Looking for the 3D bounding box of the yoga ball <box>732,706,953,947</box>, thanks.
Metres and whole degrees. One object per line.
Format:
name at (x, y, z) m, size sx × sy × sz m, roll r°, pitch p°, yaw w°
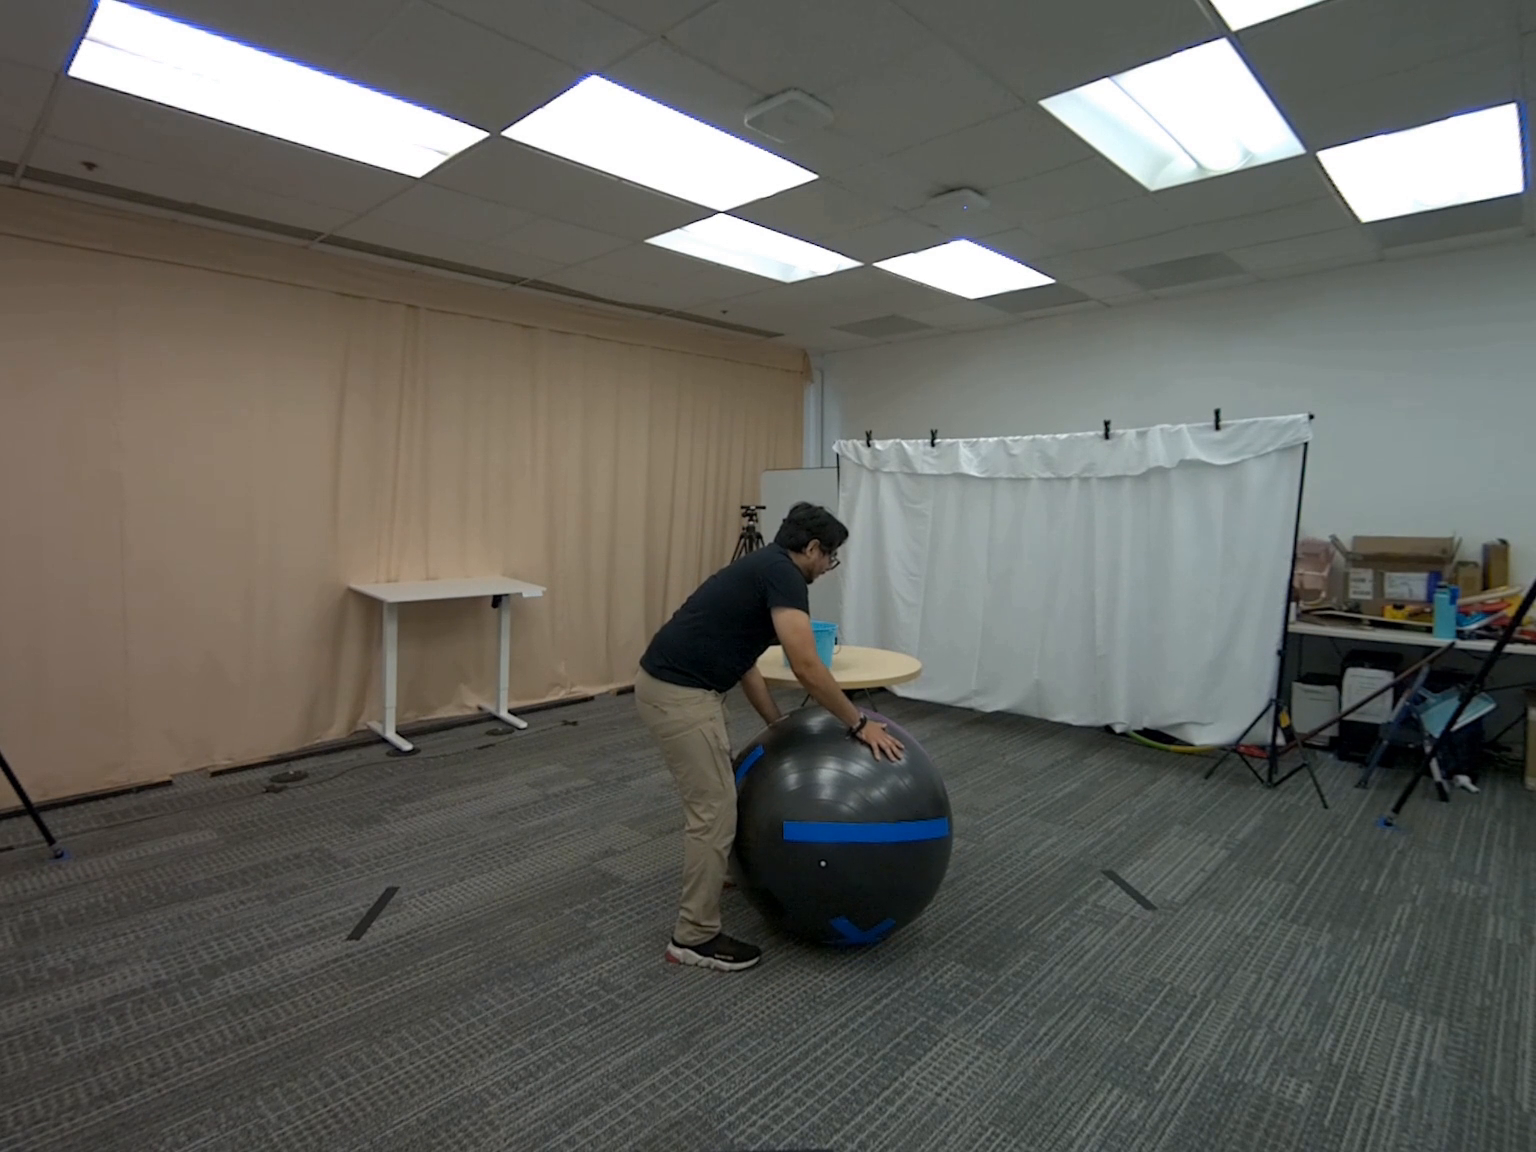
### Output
yoga ball at (0.234, 0.815, 2.782) m, size 0.757 × 0.756 × 0.760 m, roll 0°, pitch 4°, yaw -2°
